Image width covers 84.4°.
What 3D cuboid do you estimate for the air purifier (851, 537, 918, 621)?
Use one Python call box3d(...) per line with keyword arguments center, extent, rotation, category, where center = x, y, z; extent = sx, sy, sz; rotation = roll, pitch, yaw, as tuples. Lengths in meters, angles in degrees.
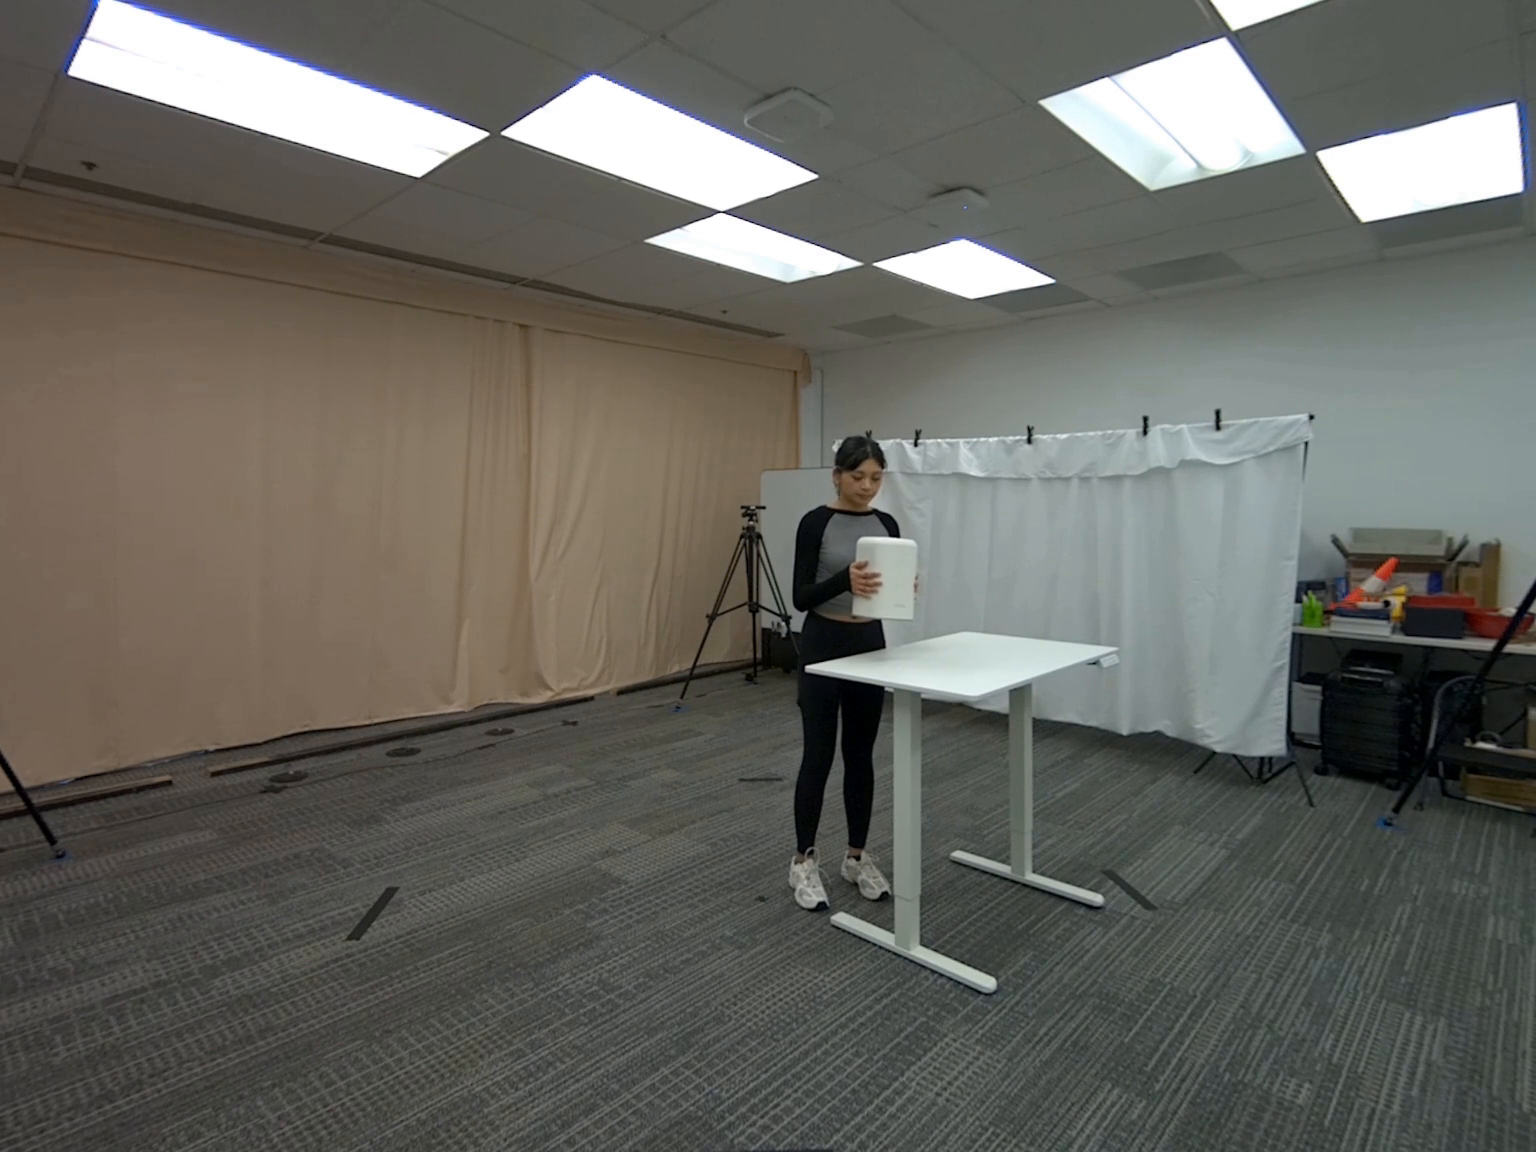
box3d(center=(0.383, 0.005, 2.786), extent=(0.167, 0.265, 0.176), rotation=(3, 0, -26), category="air purifier")
